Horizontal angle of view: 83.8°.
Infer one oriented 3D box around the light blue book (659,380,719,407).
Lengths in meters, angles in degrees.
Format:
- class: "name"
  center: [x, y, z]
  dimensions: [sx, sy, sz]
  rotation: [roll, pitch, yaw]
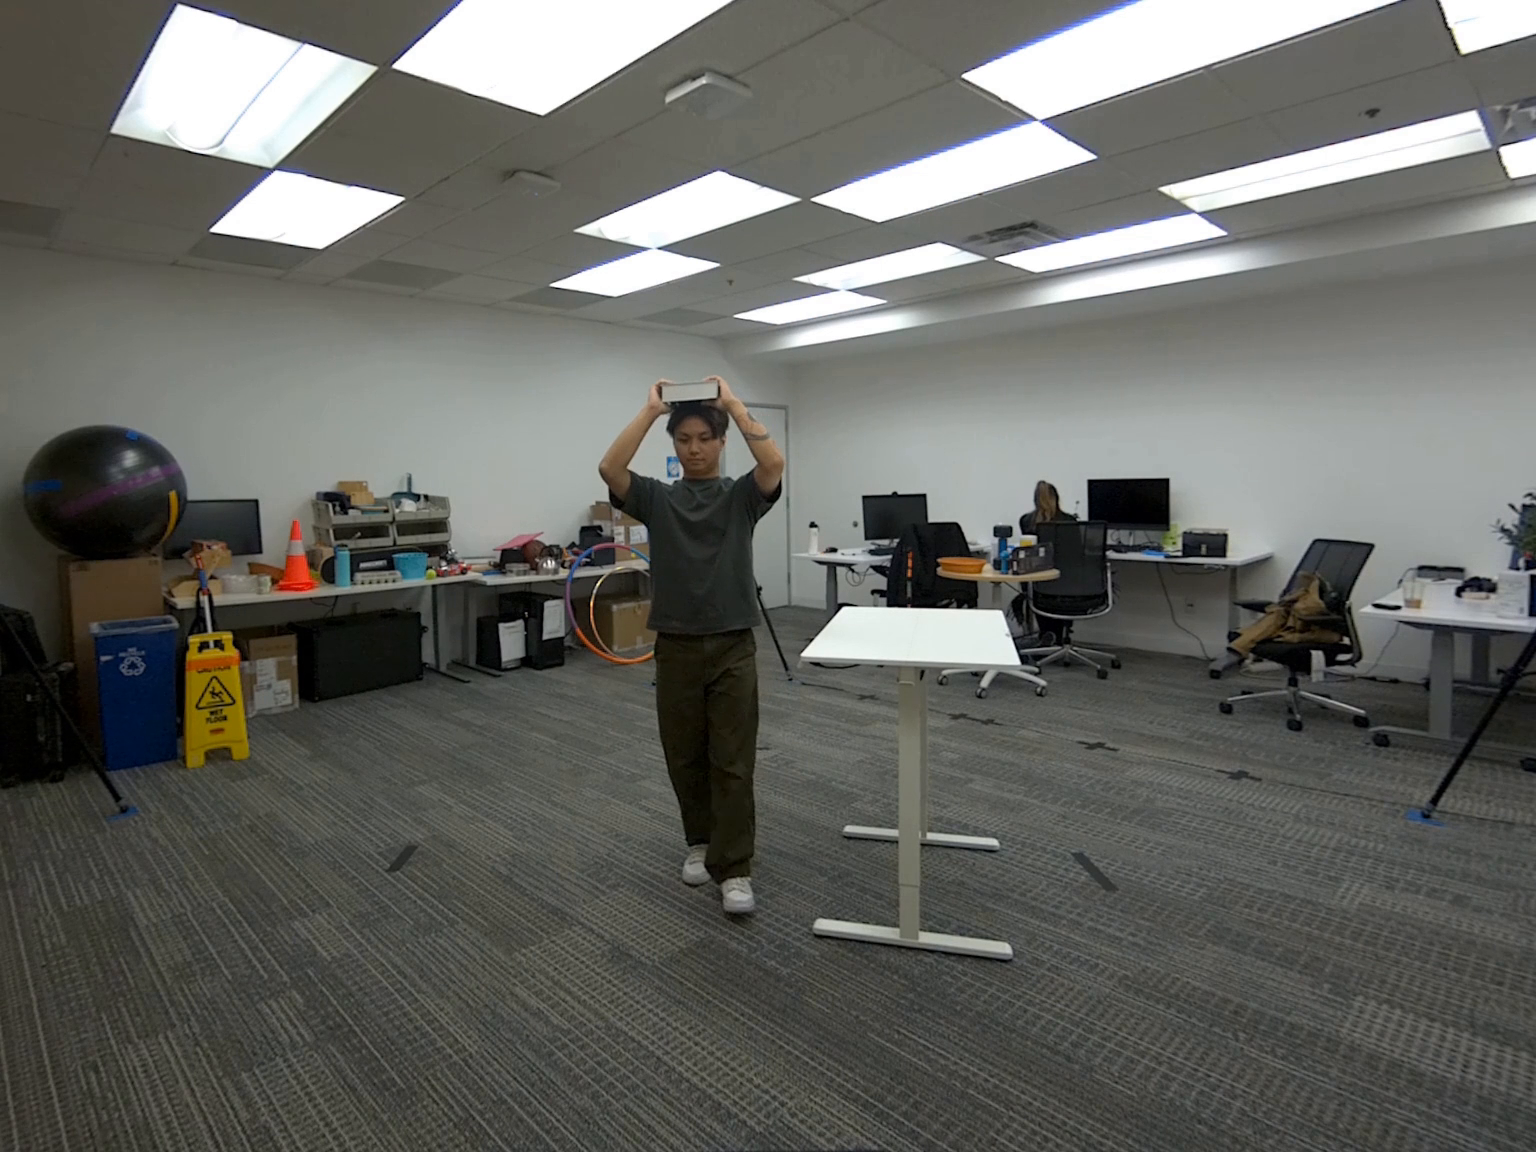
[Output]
- class: "light blue book"
  center: [-0.238, -0.611, 2.875]
  dimensions: [0.192, 0.058, 0.261]
  rotation: [-4, 8, 6]
